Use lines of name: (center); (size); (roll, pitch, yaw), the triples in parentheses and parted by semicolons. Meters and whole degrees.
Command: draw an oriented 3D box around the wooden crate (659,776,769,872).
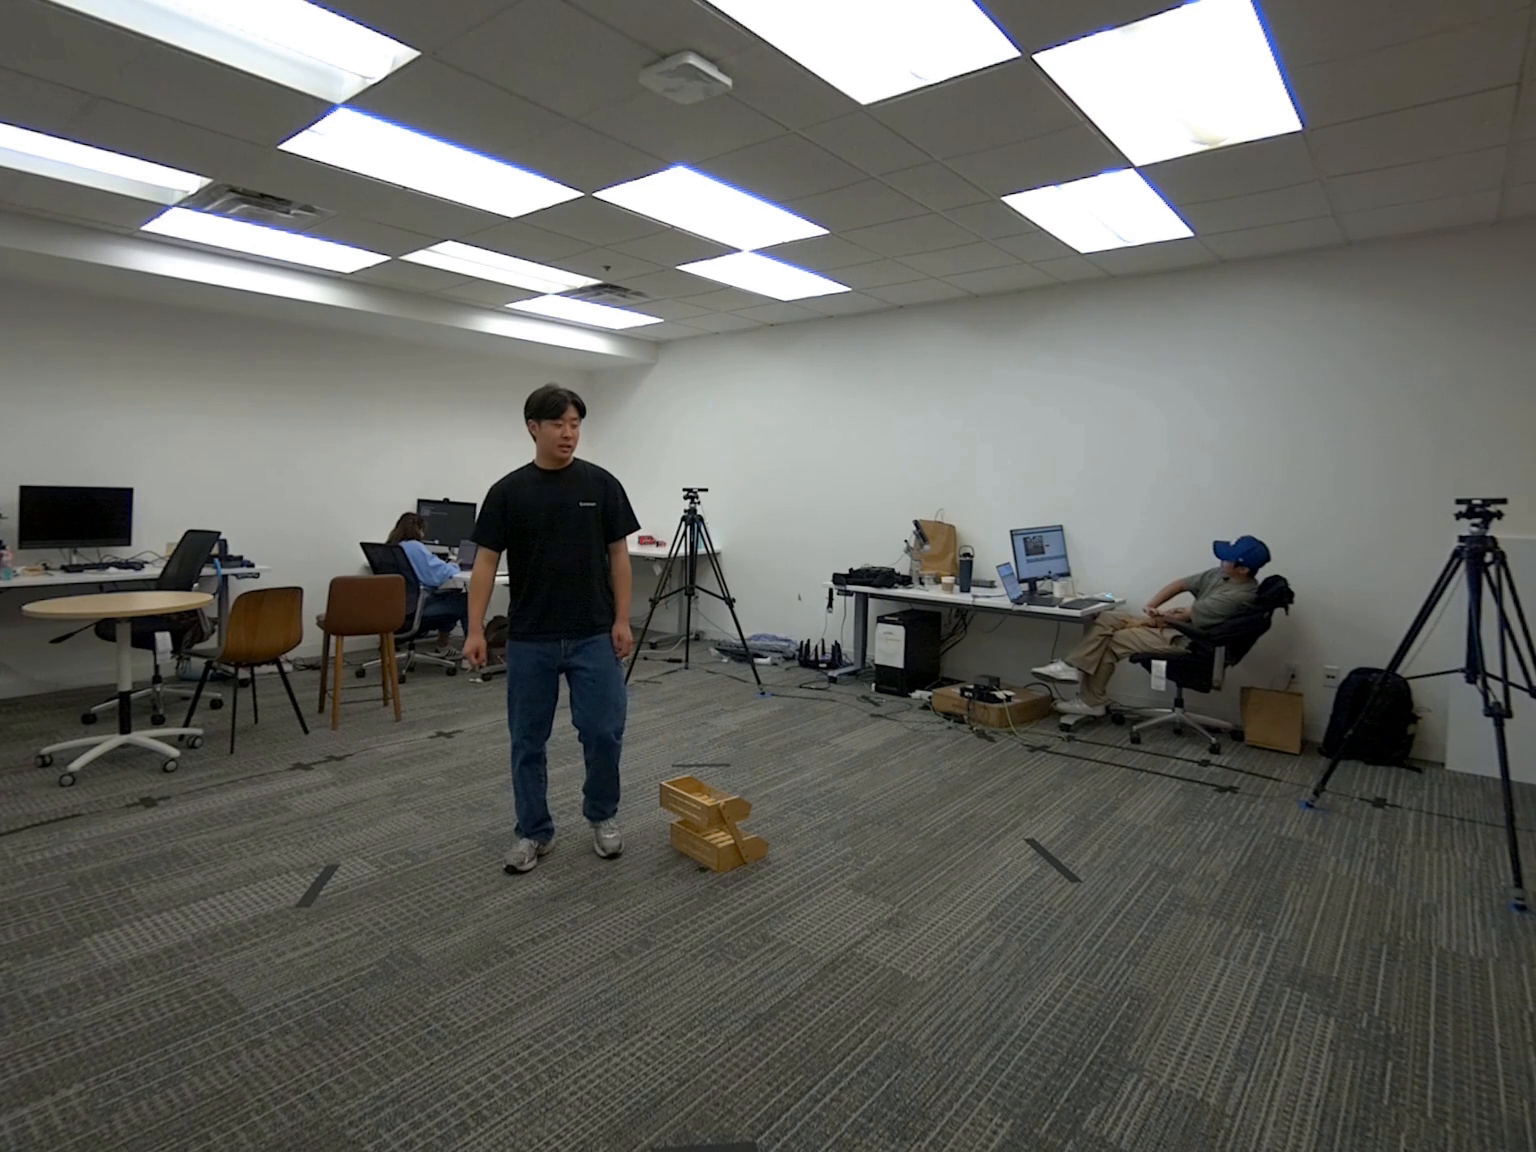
wooden crate: (-0.214, 0.926, 3.254); (0.293, 0.272, 0.335); (-3, 6, -41)
